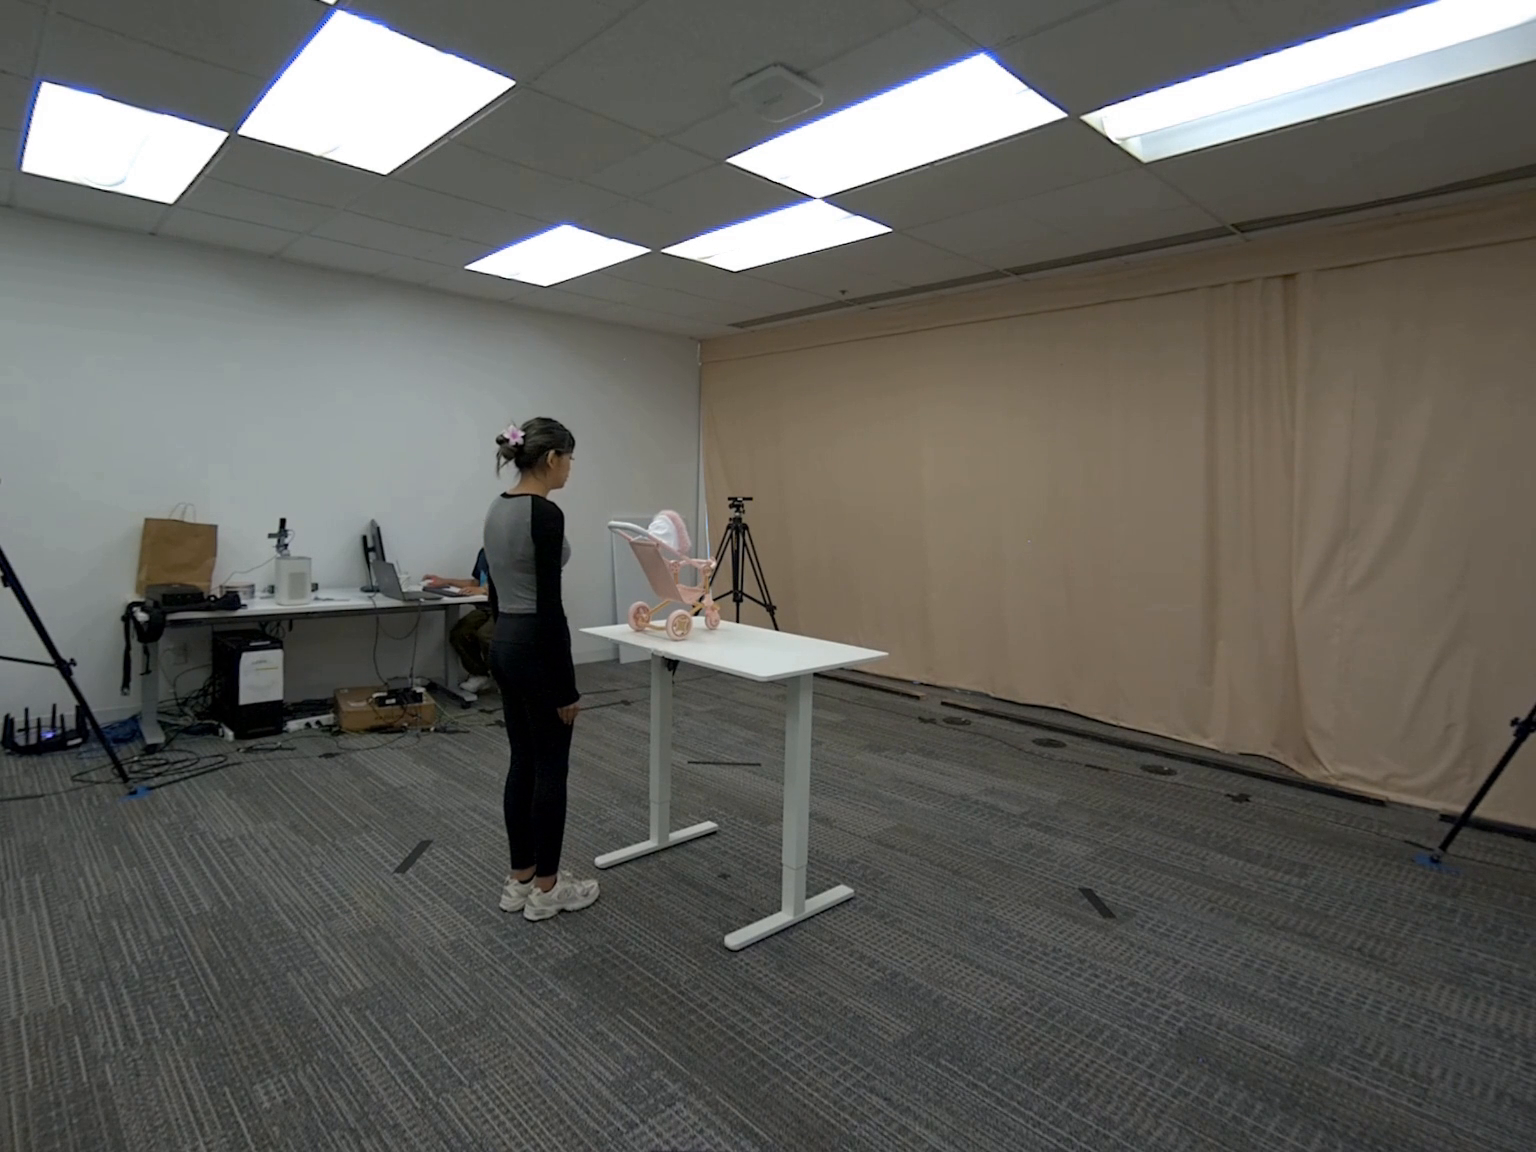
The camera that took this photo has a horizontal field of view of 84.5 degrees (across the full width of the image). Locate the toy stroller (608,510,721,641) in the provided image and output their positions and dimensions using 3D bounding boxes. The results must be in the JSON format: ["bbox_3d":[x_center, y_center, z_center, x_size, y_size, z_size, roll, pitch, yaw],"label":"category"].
[{"bbox_3d":[-0.356,-0.004,3.110,0.337,0.528,0.288,-23,17,-35],"label":"toy stroller"}]
